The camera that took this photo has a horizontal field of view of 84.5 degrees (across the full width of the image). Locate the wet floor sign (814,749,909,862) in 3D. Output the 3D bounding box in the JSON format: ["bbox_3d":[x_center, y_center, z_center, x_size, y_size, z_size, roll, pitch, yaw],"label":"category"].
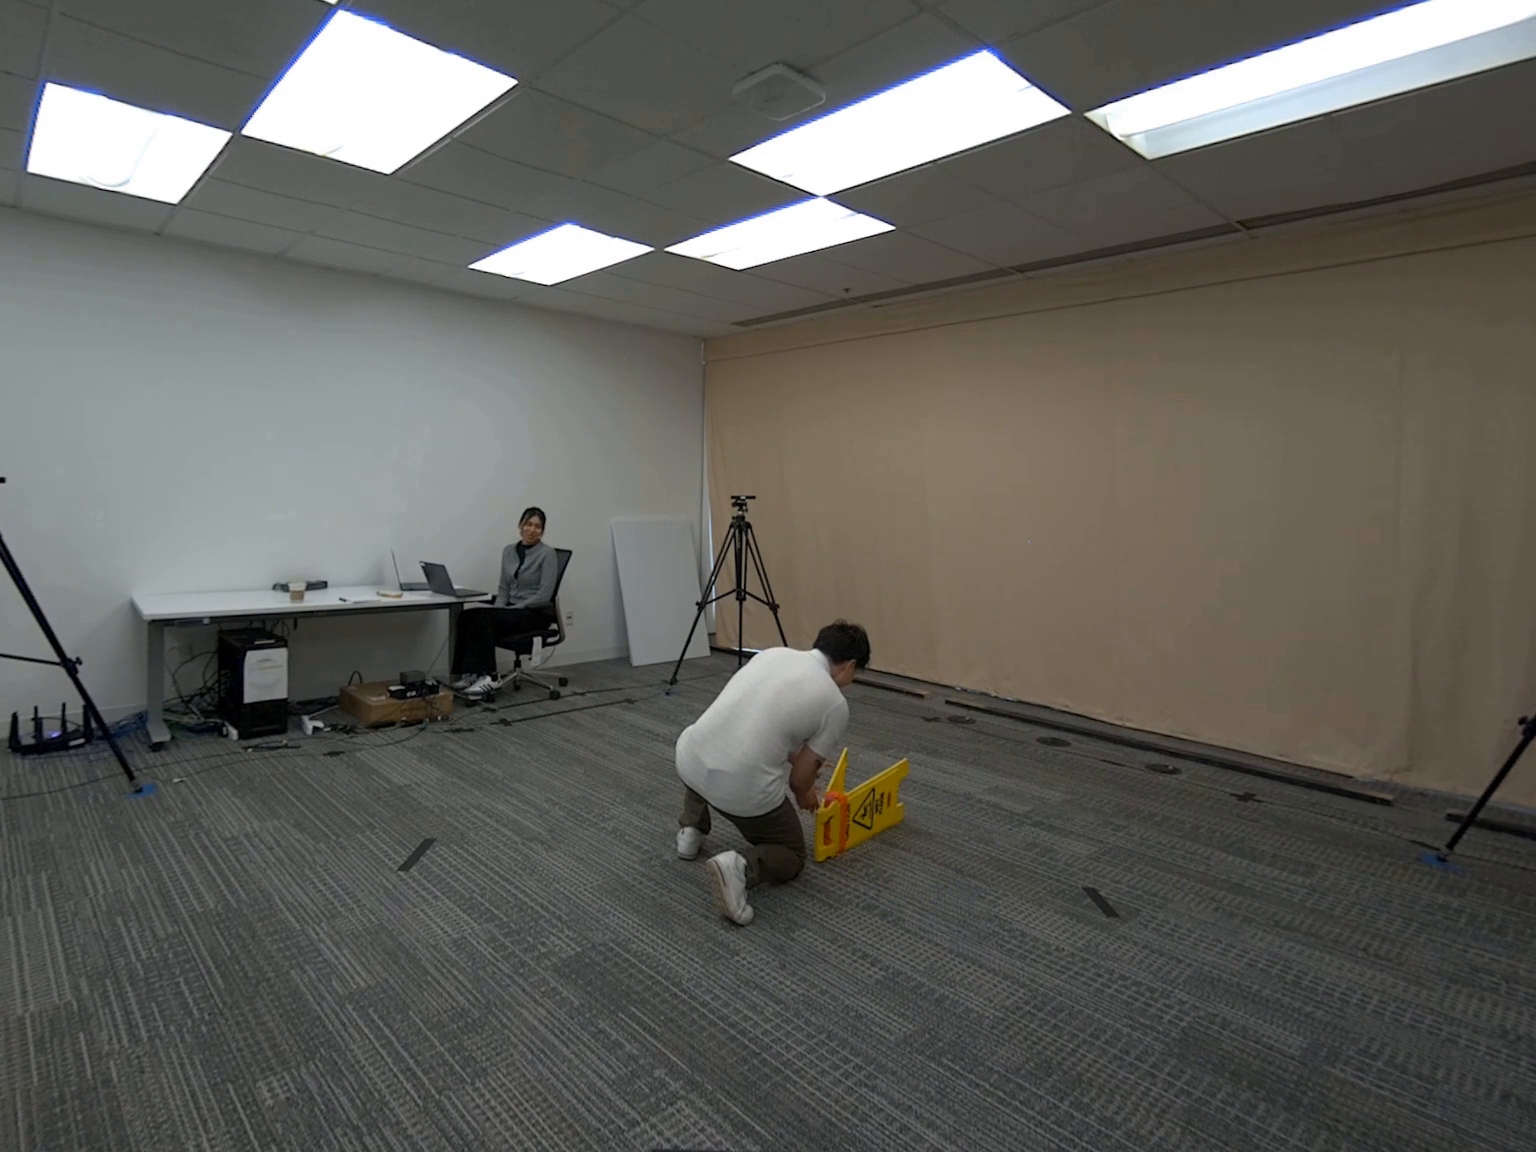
[{"bbox_3d":[0.323,0.953,3.473,0.295,0.281,0.636,4,8,26],"label":"wet floor sign"}]
